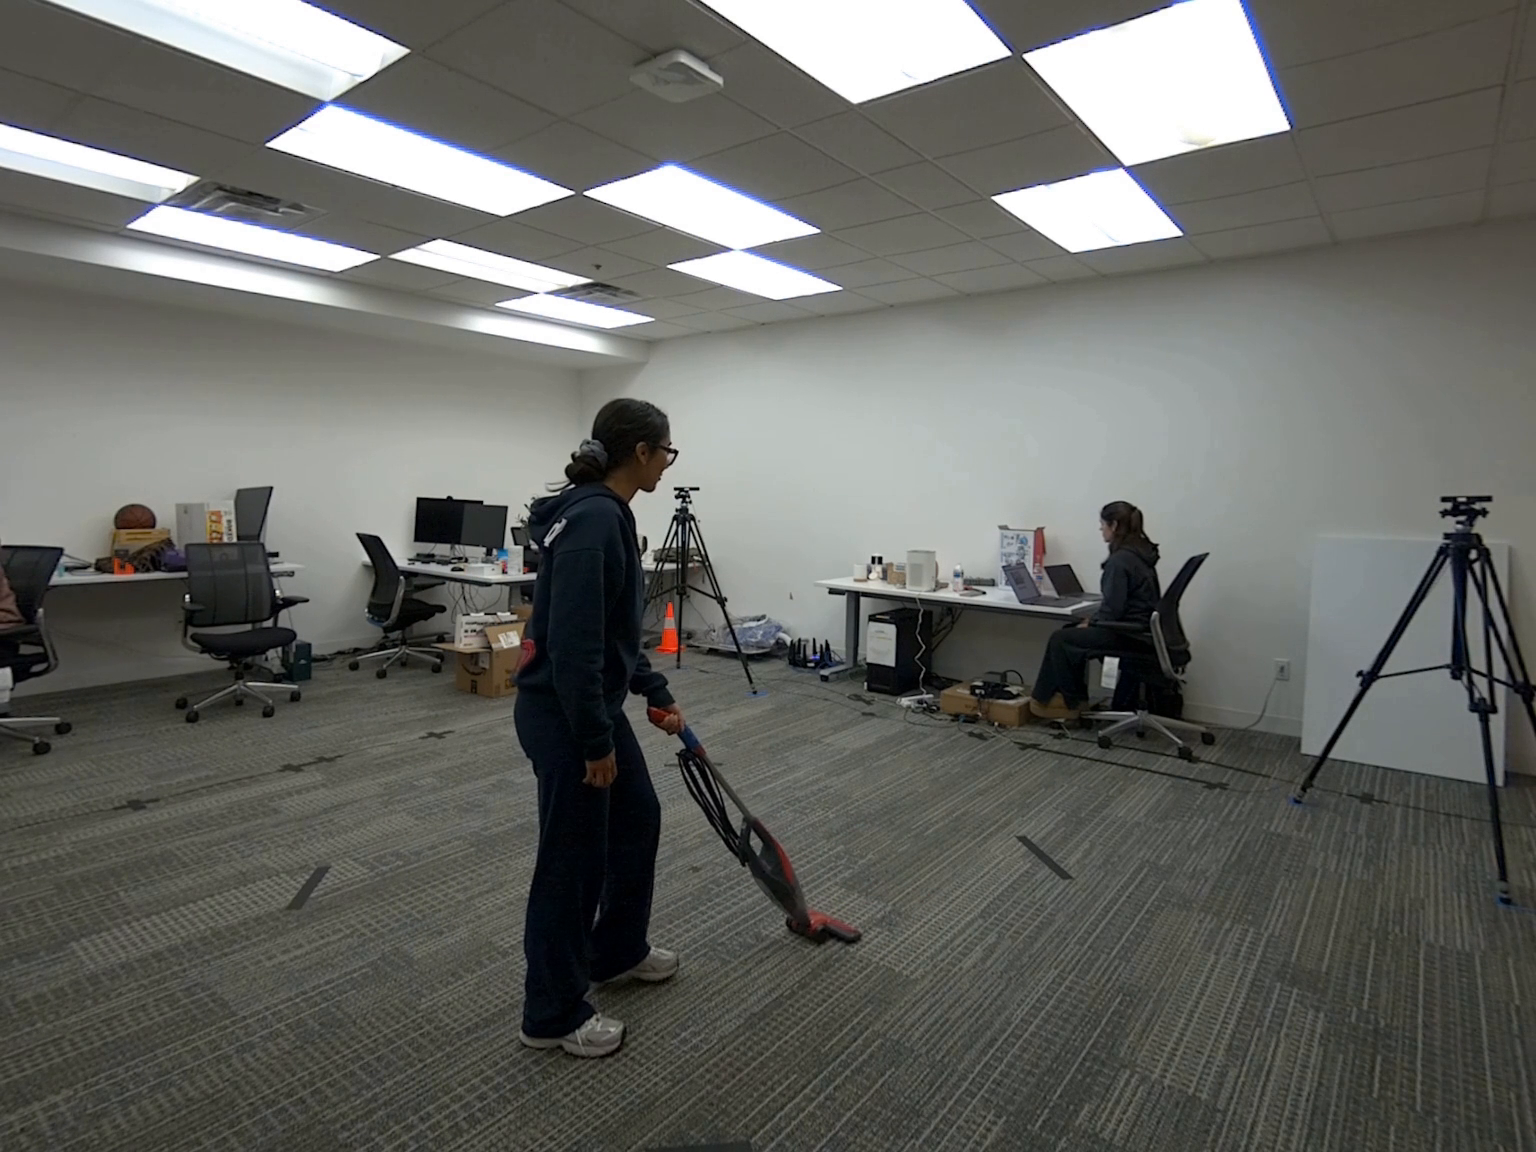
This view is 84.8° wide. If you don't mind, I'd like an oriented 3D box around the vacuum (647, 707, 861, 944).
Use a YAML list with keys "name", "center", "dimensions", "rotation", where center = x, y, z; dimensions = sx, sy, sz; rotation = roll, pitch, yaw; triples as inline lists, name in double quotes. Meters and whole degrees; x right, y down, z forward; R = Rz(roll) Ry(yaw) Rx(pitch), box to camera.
- name: "vacuum"
  center: [-0.066, 0.734, 2.451]
  dimensions: [0.261, 1.013, 0.144]
  rotation: [2, 43, 44]
